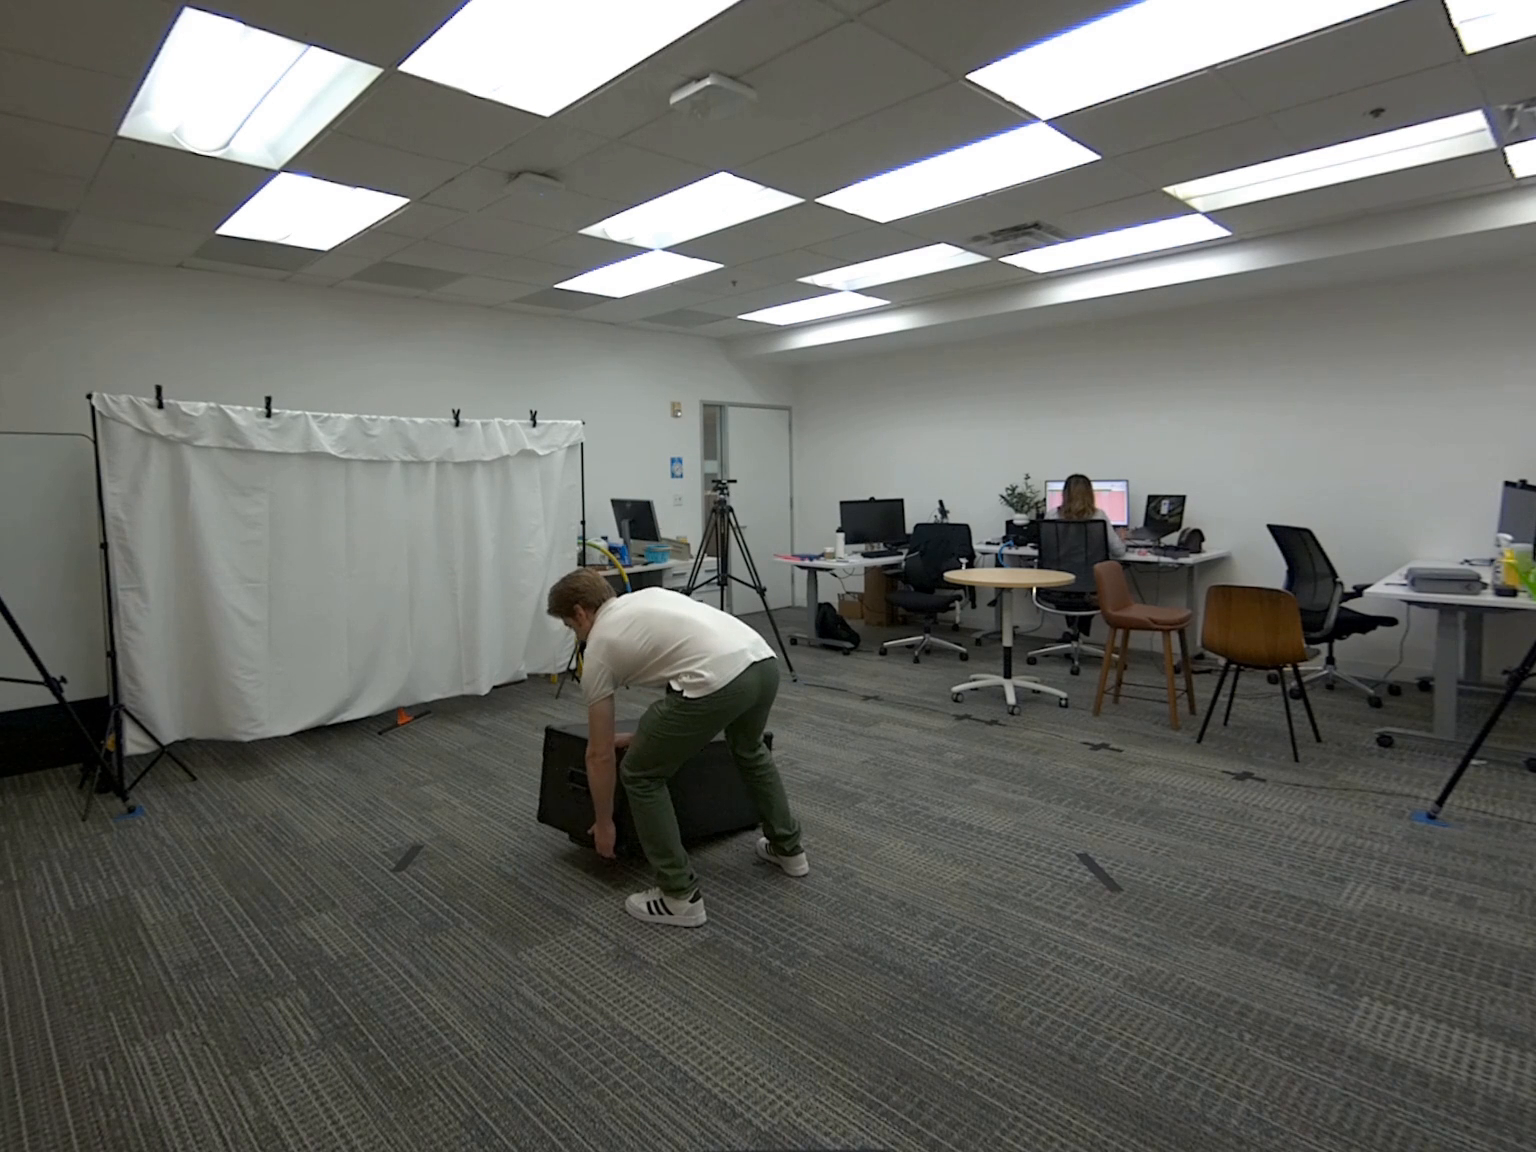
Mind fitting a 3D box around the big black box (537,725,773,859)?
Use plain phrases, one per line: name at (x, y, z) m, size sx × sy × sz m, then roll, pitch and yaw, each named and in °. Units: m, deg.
big black box at (-0.397, 0.786, 3.371) m, size 0.539 × 0.386 × 0.841 m, roll 1°, pitch -3°, yaw 42°
